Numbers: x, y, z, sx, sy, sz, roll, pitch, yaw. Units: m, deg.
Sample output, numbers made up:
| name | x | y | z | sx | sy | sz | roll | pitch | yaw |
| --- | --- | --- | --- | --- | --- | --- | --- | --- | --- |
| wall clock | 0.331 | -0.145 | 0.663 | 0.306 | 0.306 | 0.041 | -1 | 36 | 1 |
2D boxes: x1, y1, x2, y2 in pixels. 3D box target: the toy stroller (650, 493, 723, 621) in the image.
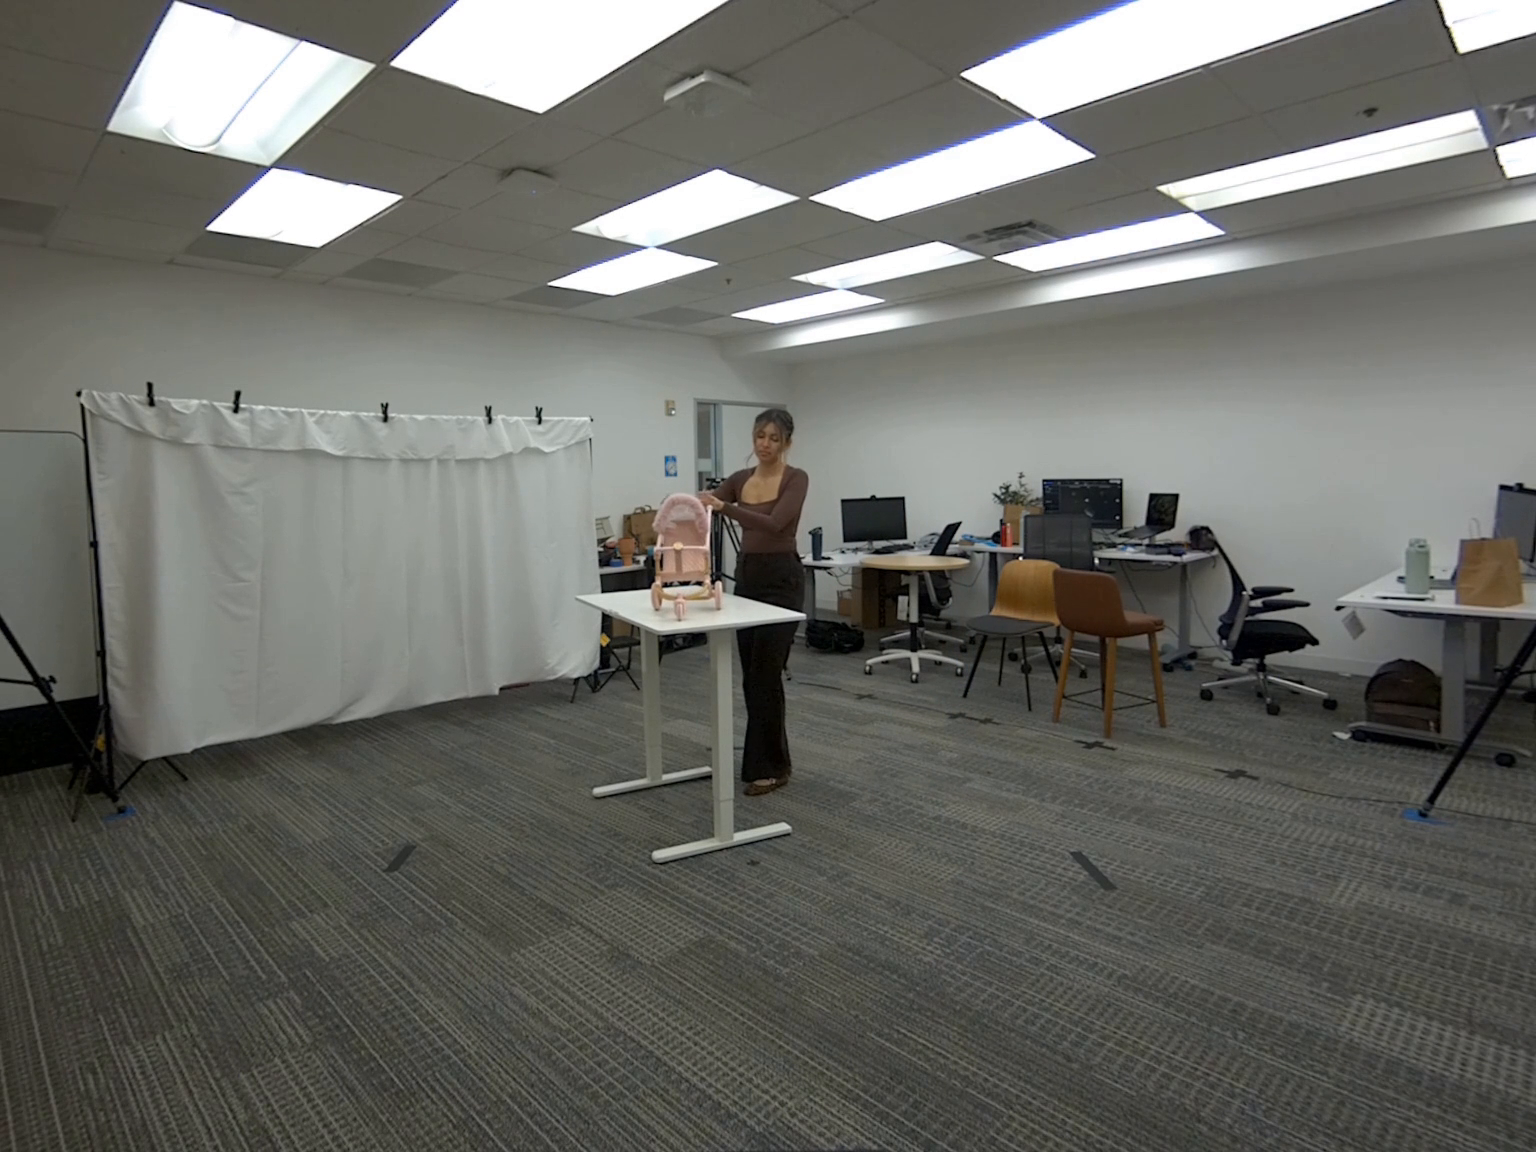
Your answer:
| name | x | y | z | sx | sy | sz | roll | pitch | yaw |
| --- | --- | --- | --- | --- | --- | --- | --- | --- | --- |
| toy stroller | -0.328 | -0.078 | 3.315 | 0.283 | 0.540 | 0.336 | -2 | -11 | 6 |
